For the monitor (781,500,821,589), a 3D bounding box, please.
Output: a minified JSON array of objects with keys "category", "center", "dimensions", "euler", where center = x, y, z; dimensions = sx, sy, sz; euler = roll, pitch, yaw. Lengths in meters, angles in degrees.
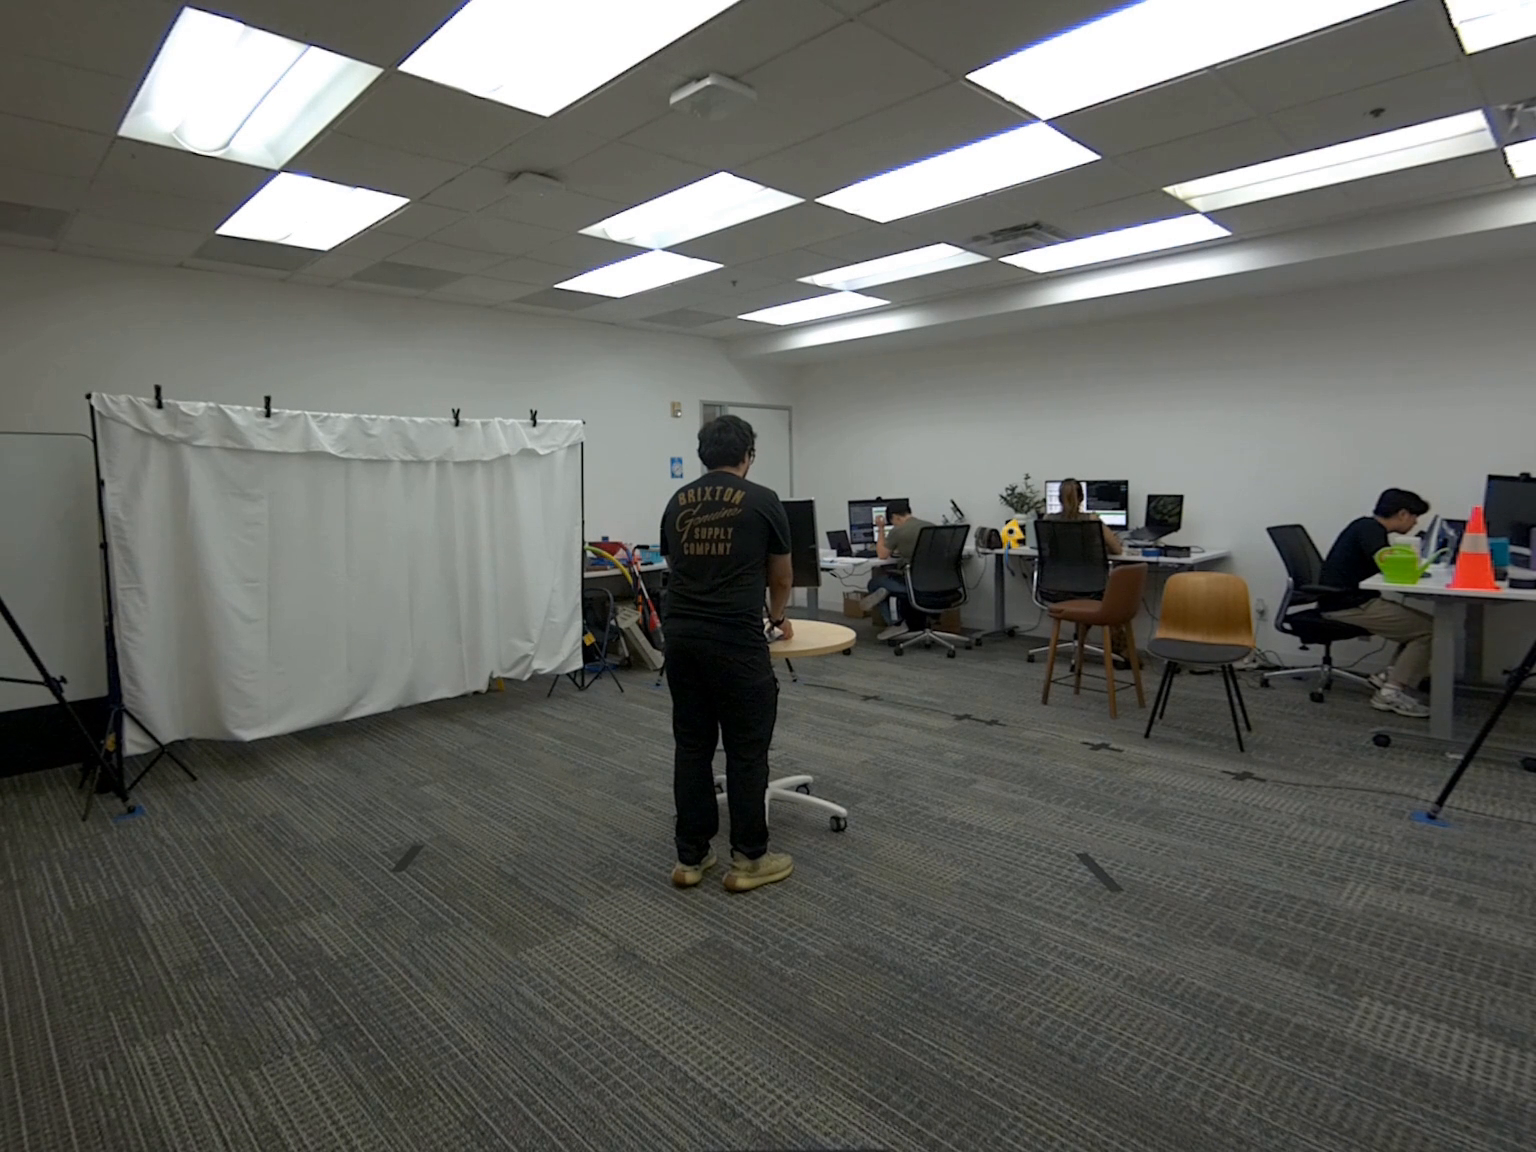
[{"category":"monitor","center":[-0.082,-0.021,3.300],"dimensions":[0.575,0.548,0.209],"euler":[1,12,18]}]
